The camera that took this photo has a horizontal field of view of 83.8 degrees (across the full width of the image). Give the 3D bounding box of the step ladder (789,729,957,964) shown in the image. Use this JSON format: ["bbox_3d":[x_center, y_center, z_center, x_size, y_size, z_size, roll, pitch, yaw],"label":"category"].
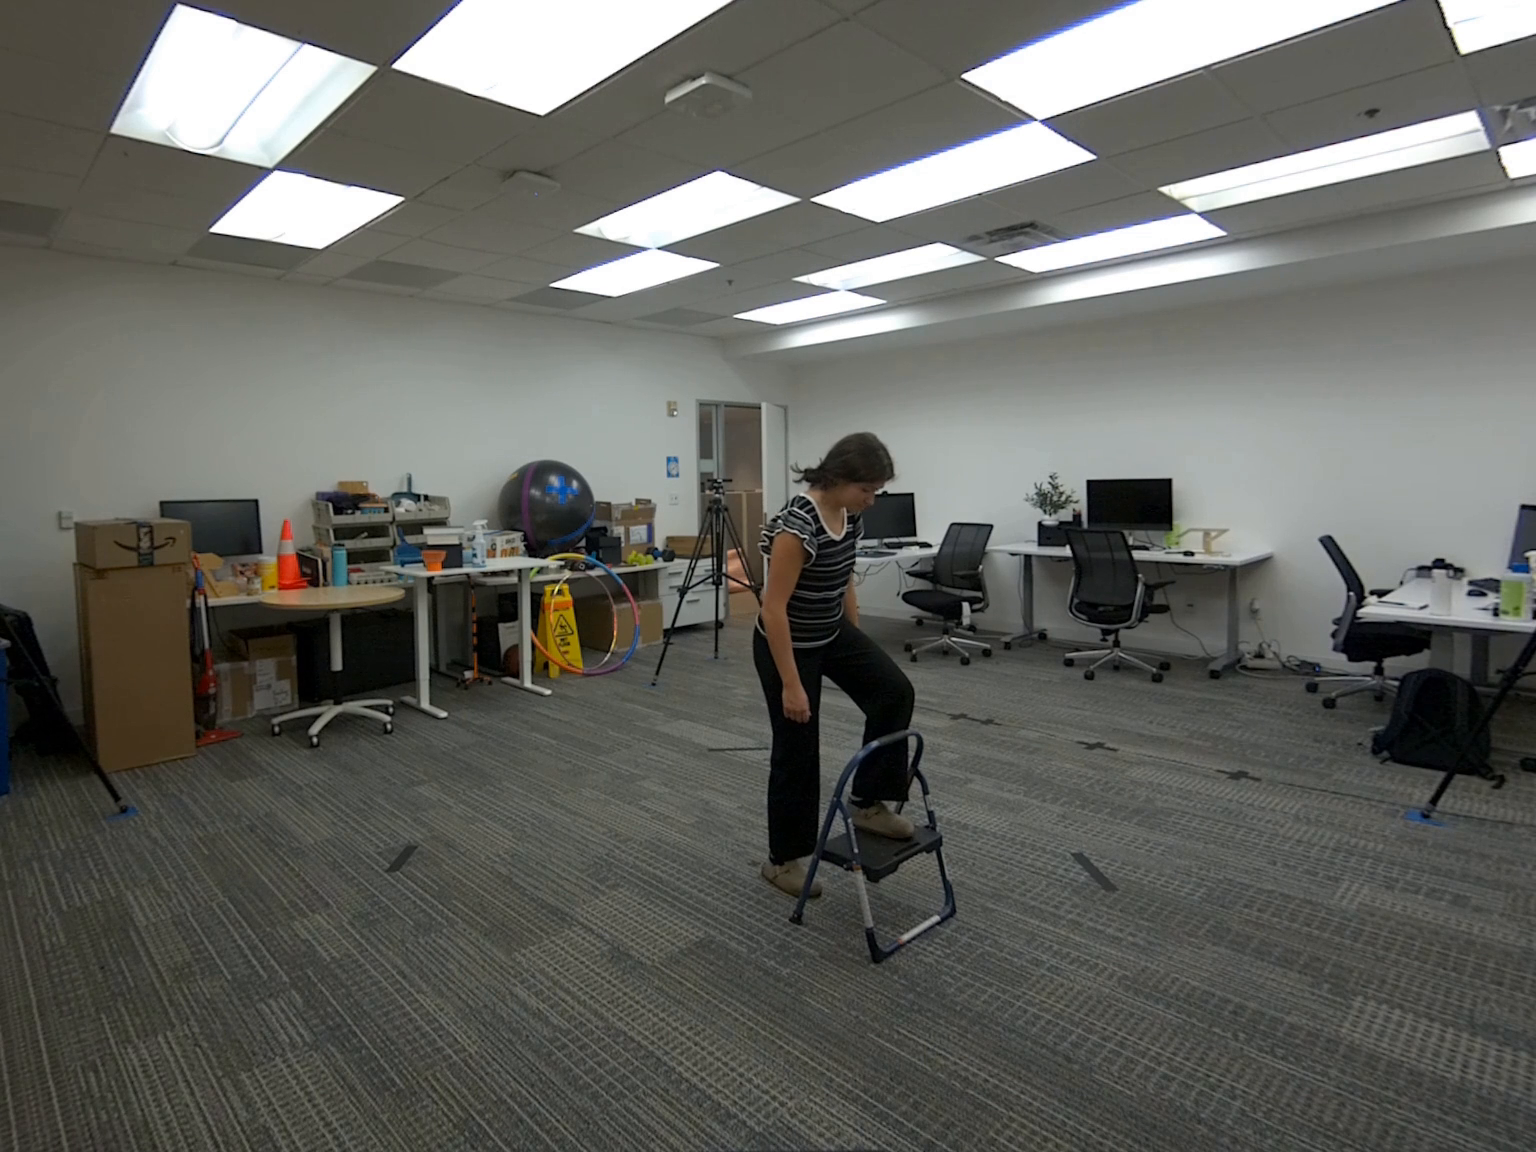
[{"bbox_3d":[0.335,0.786,2.688,0.419,0.604,0.360,-6,6,-44],"label":"step ladder"}]
